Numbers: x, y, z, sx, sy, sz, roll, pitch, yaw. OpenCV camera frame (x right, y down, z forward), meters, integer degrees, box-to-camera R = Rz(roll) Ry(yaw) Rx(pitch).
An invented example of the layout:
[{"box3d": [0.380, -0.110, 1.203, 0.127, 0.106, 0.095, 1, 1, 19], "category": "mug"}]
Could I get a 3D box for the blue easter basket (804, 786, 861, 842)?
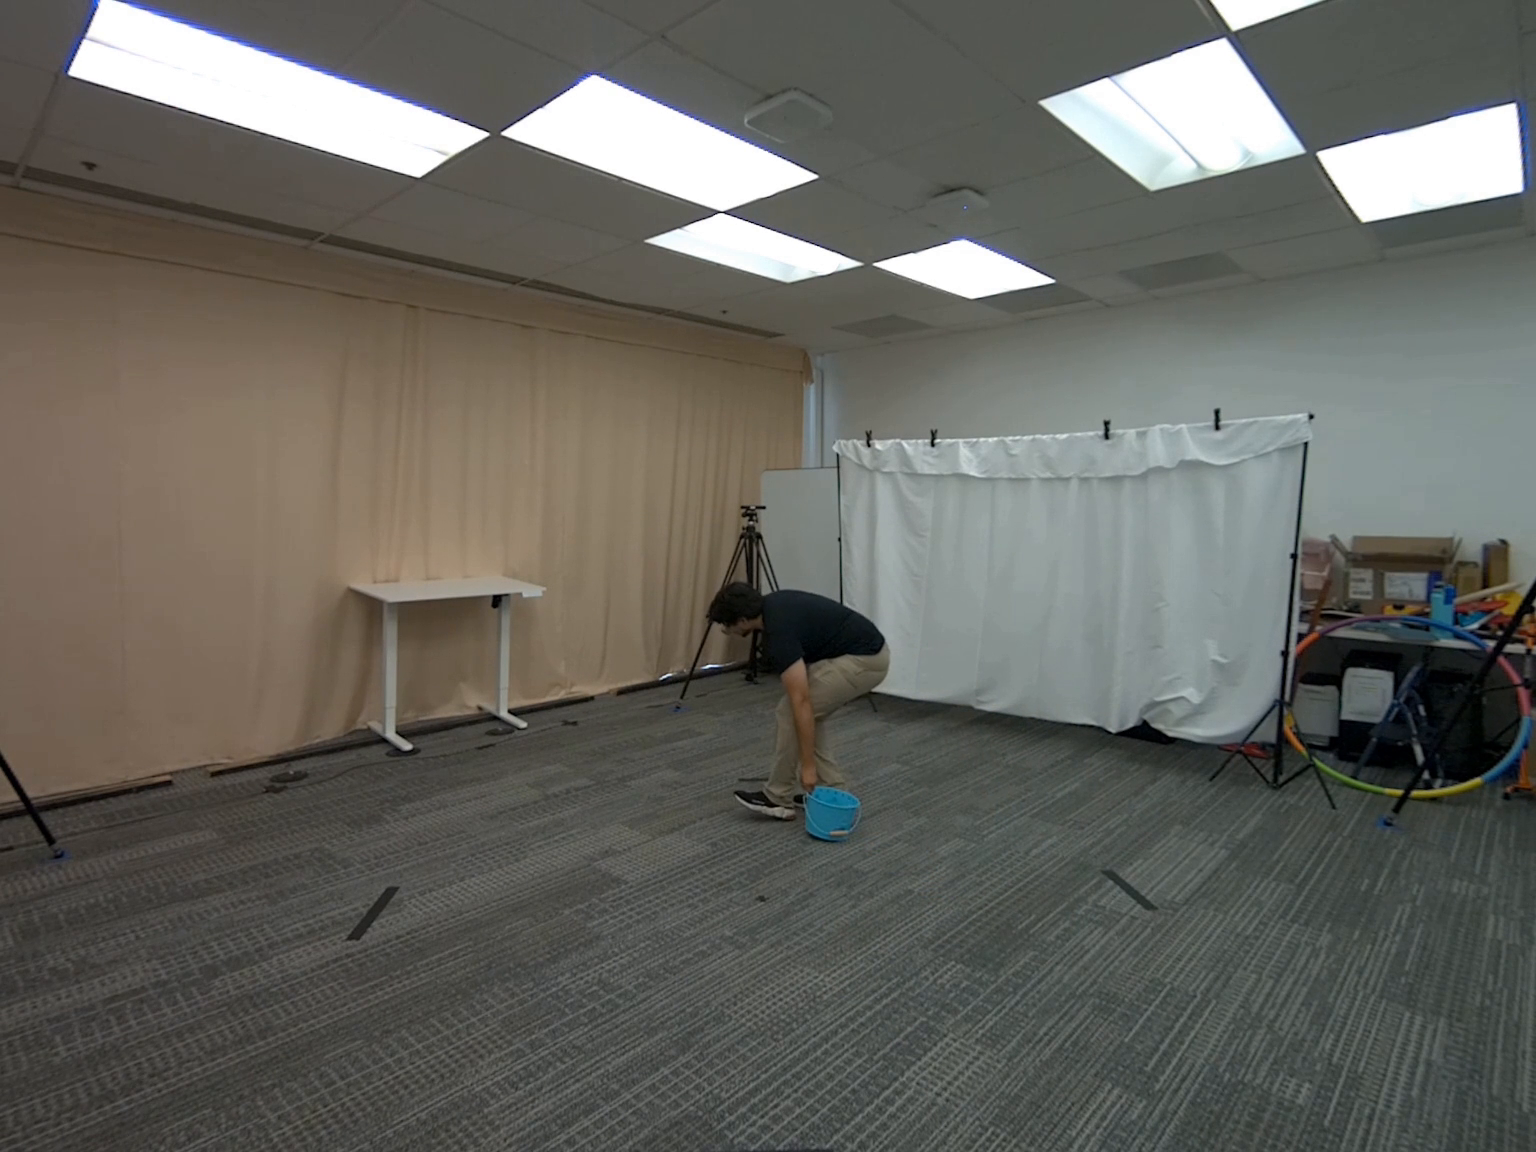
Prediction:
[{"box3d": [0.255, 1.000, 3.556, 0.243, 0.155, 0.244, 9, 4, -3], "category": "blue easter basket"}]
